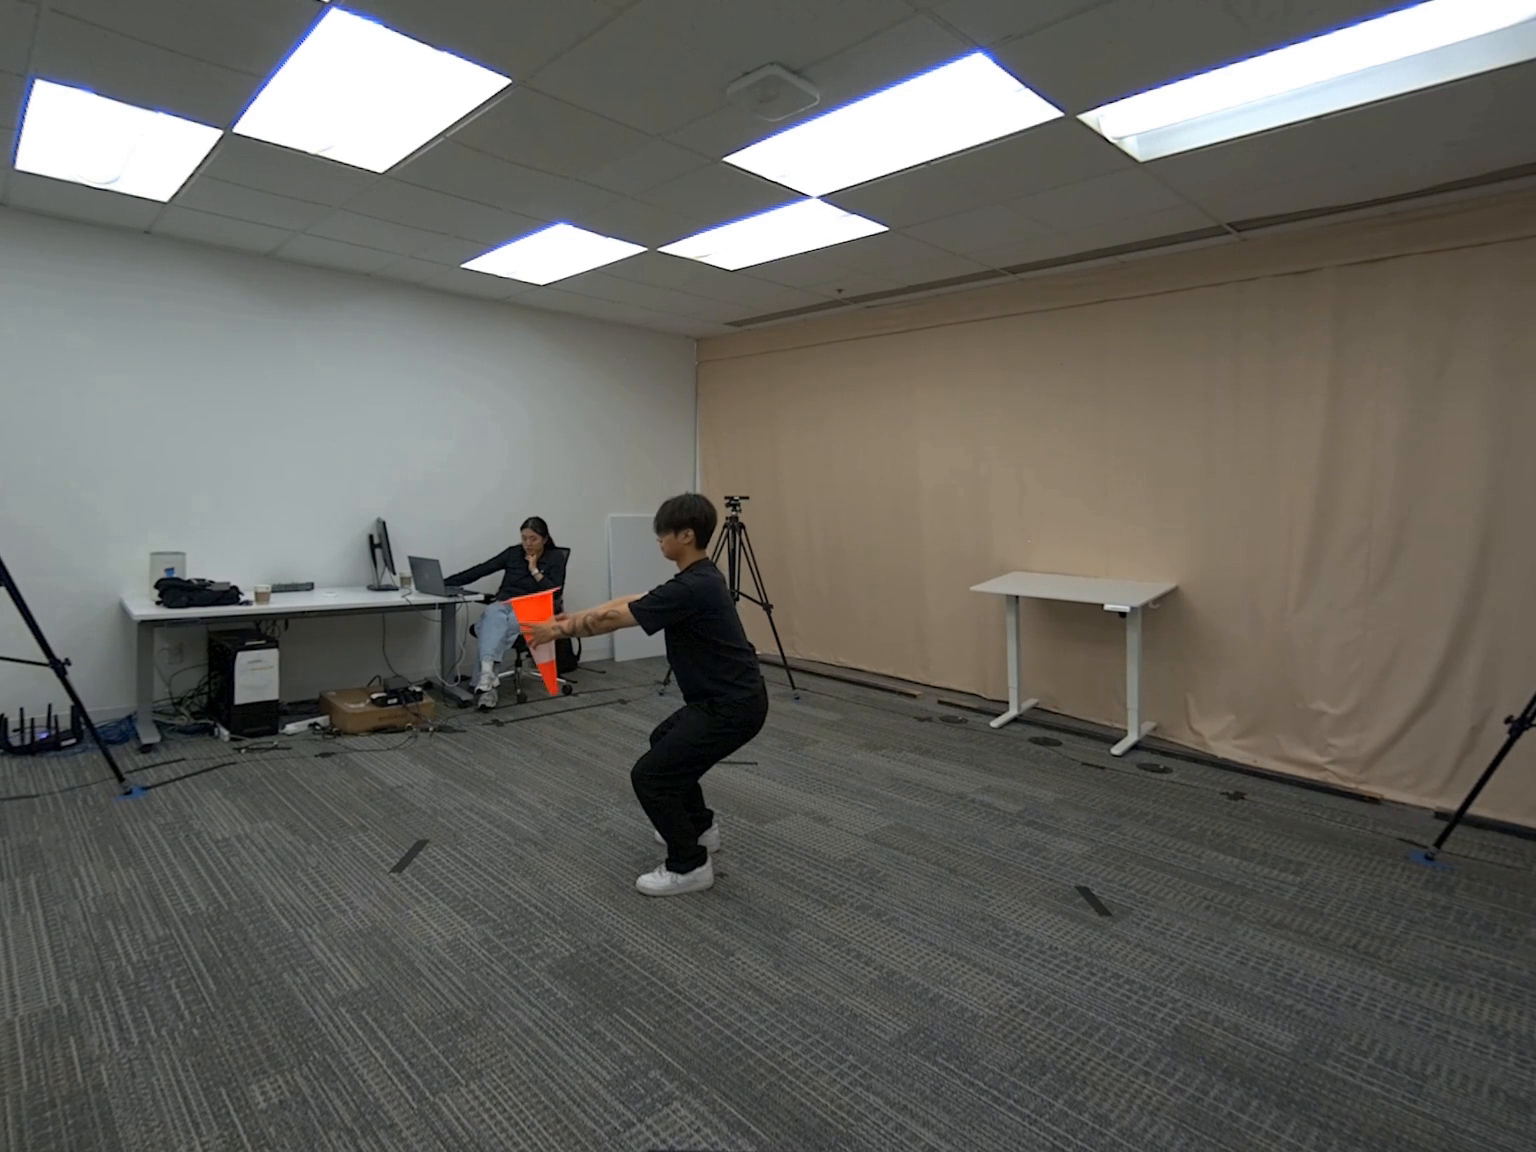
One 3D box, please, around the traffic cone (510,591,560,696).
[{"bbox_3d":[-0.857,0.262,3.179,0.204,0.383,0.205,-14,3,3],"label":"traffic cone"}]
